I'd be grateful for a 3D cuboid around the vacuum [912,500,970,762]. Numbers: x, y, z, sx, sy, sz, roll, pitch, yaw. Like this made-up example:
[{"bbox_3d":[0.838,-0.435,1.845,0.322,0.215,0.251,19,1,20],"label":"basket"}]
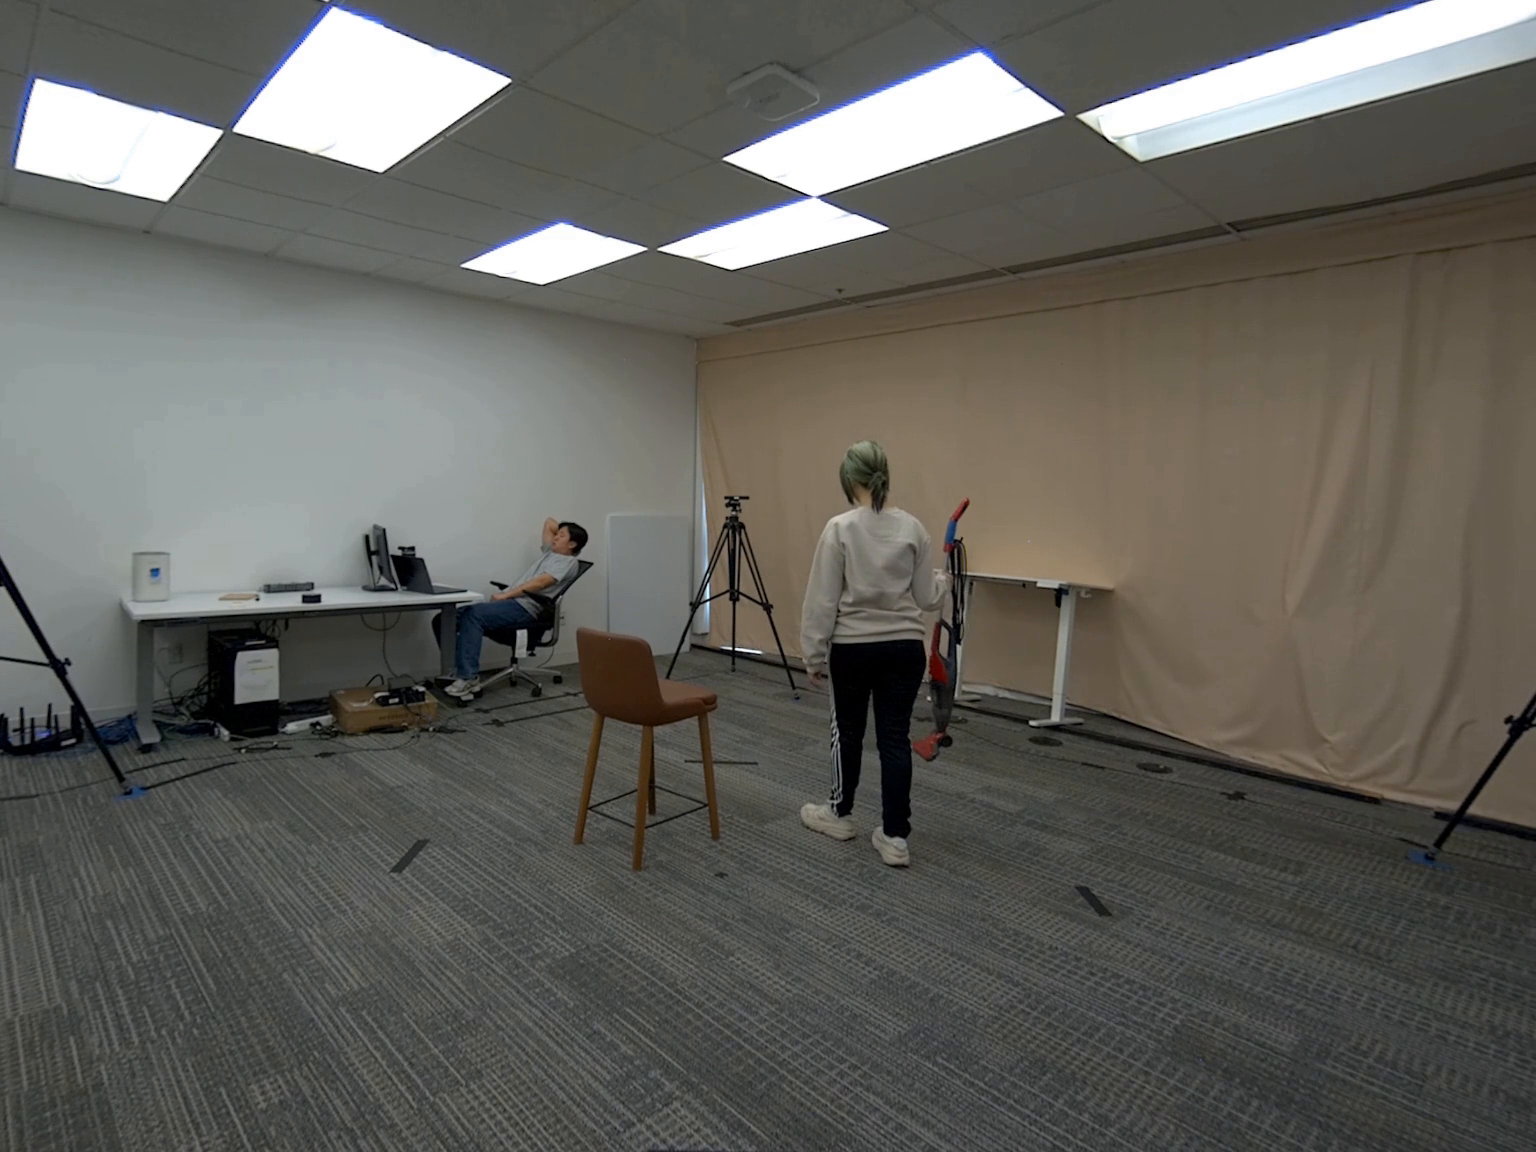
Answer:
[{"bbox_3d":[0.766,0.193,3.590,0.142,1.050,0.255,9,-1,-13],"label":"vacuum"}]
